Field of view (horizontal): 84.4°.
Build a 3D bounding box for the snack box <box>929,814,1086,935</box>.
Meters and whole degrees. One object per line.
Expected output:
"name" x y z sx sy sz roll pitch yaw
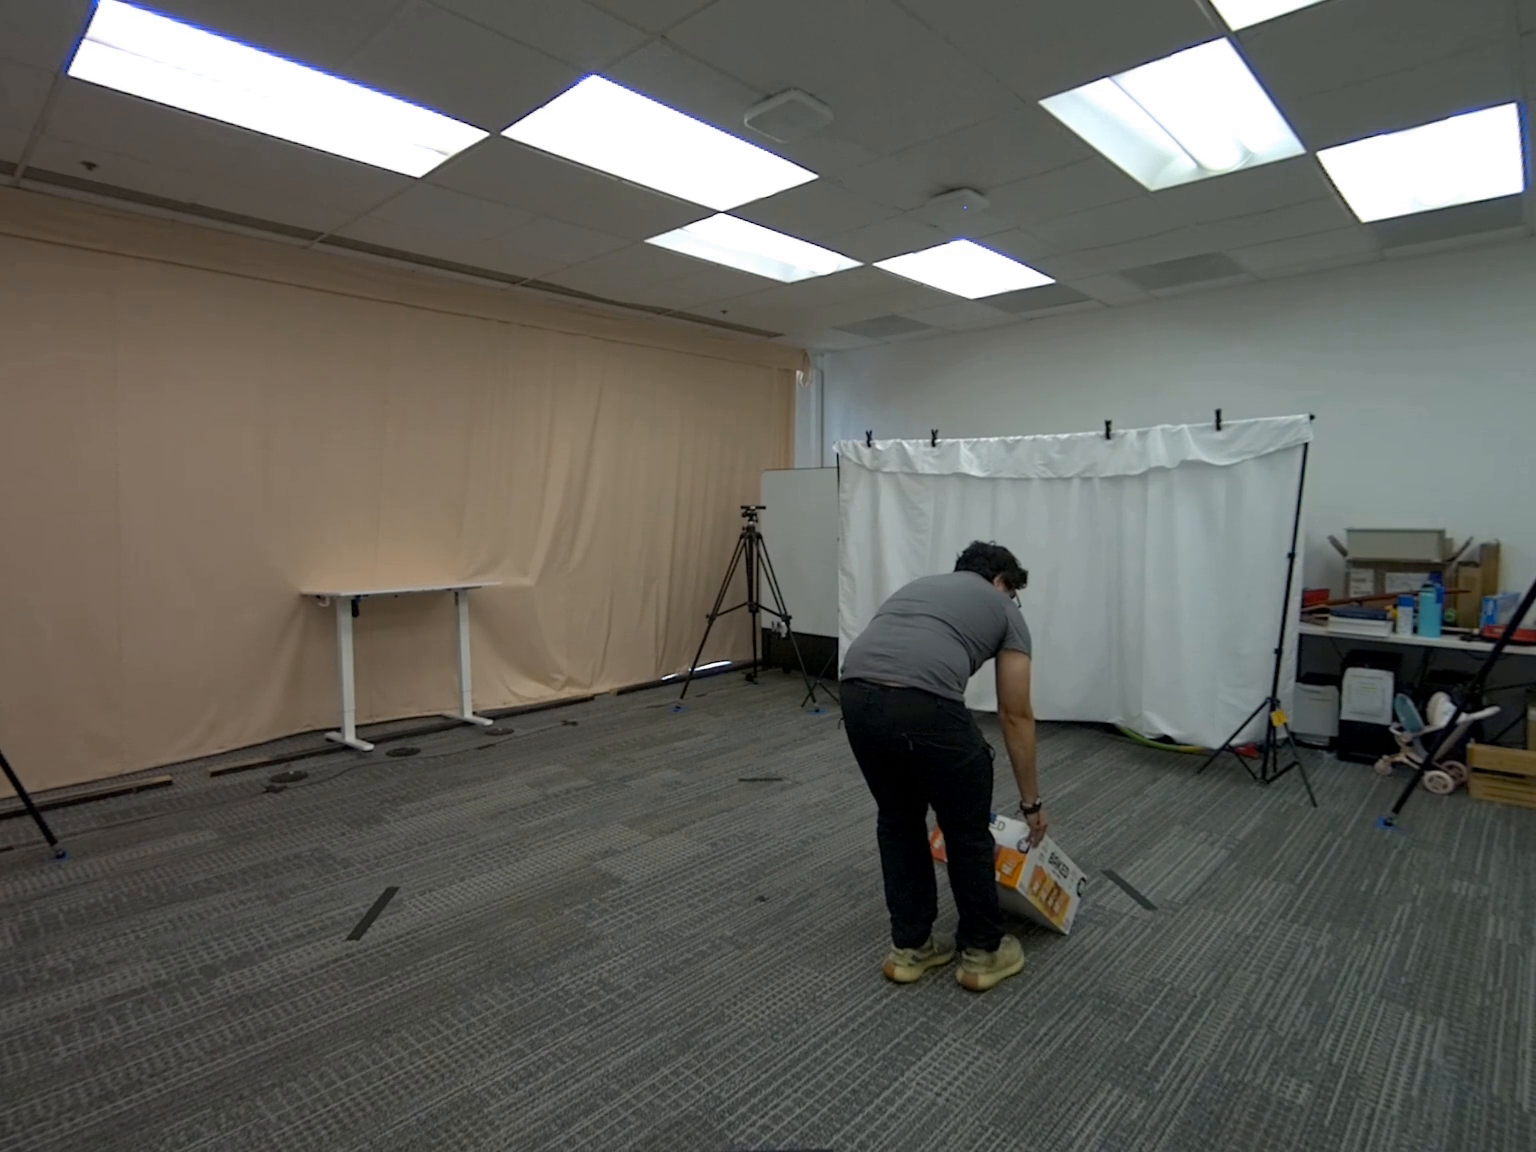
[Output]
"snack box" 0.793 0.958 2.774 0.352 0.205 0.392 5 -33 49
